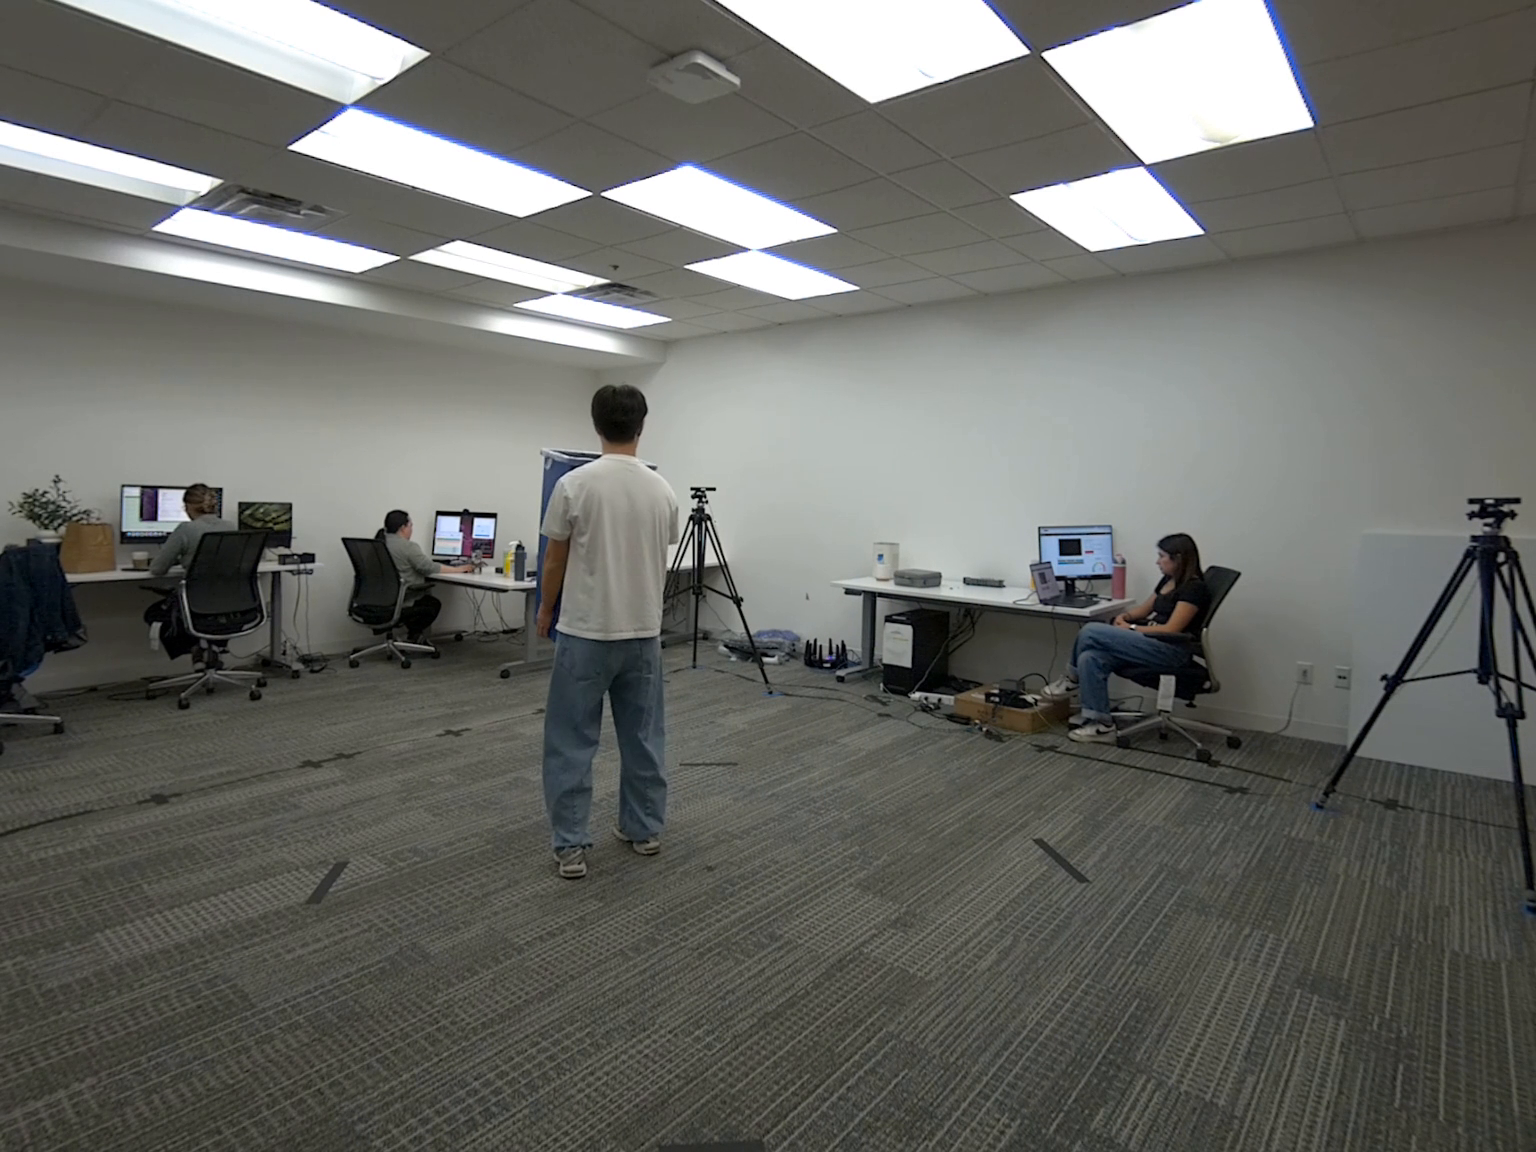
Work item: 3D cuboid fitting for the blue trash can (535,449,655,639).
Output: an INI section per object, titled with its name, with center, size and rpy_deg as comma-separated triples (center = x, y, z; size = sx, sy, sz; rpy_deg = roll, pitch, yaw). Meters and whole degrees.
[blue trash can]
center = -0.723, -0.129, 3.381
size = 0.364, 0.708, 0.392
rpy_deg = 1, 11, -31
